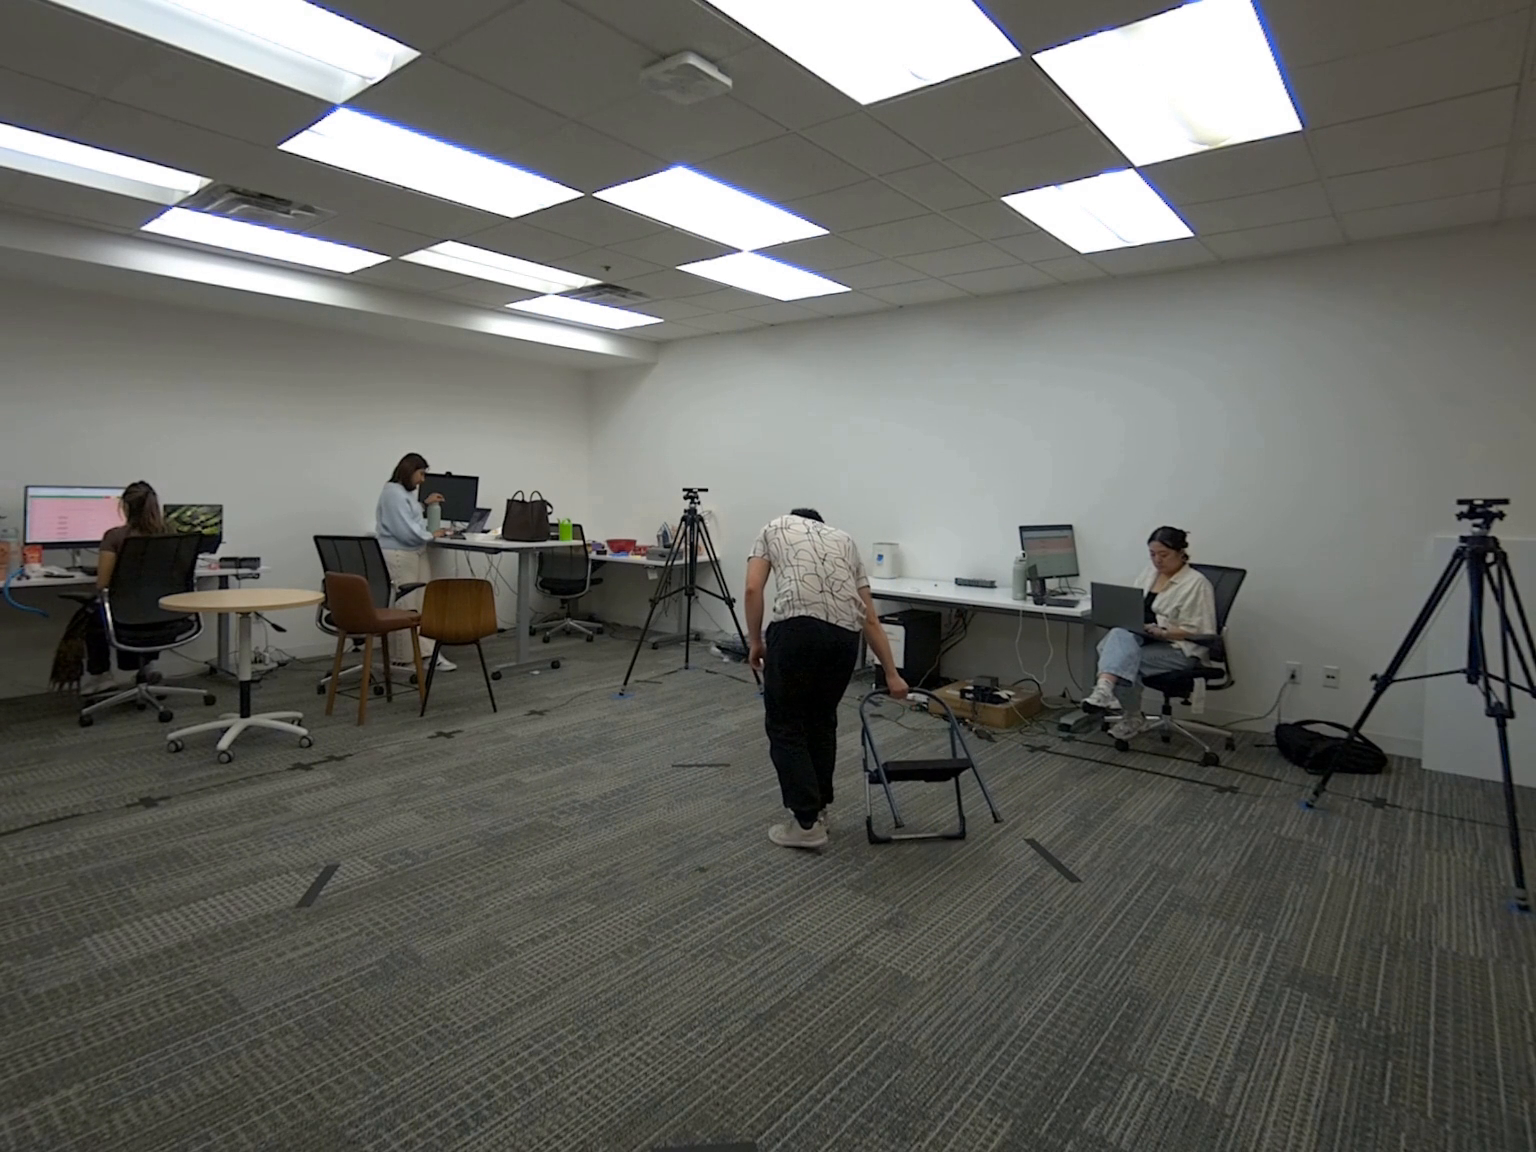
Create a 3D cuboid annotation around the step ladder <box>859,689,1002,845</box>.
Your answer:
[{"bbox_3d":[0.601,0.719,3.417,0.424,0.623,0.345,0,-29,-14],"label":"step ladder"}]
